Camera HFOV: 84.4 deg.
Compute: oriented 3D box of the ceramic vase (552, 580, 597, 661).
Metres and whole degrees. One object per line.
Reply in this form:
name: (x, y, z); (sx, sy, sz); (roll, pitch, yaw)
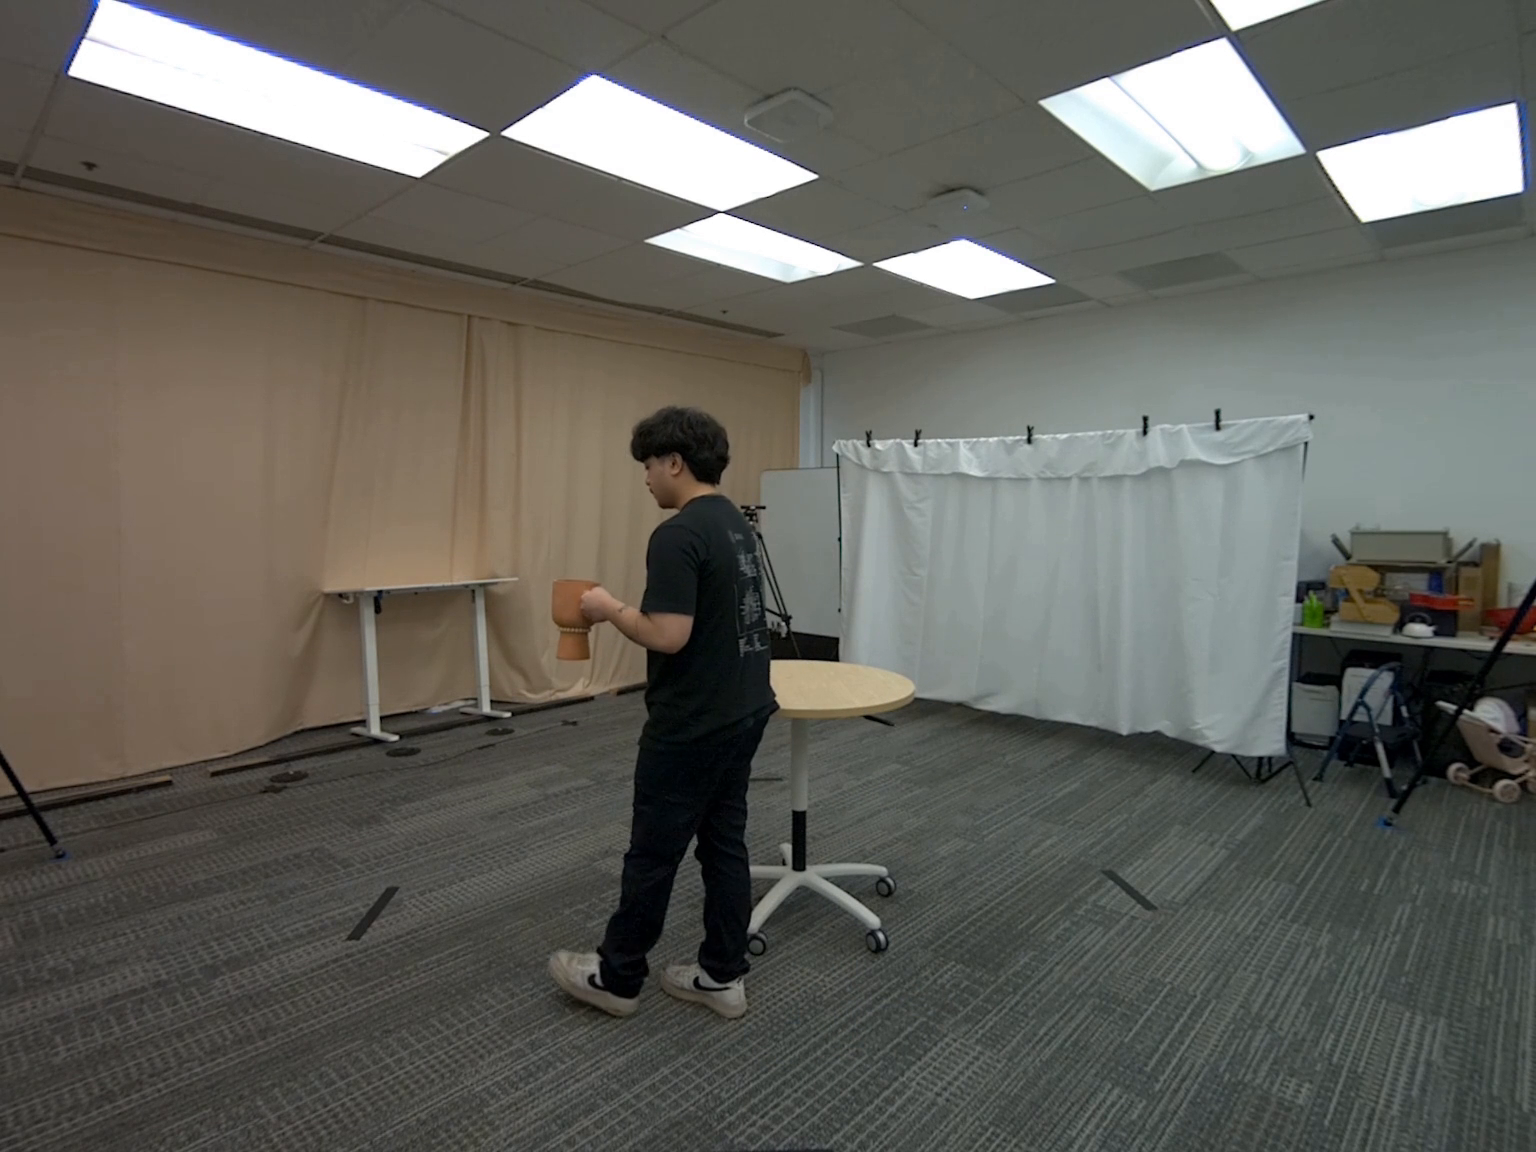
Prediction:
ceramic vase: (-0.545, 0.124, 2.392); (0.134, 0.220, 0.159); (3, 0, -2)
